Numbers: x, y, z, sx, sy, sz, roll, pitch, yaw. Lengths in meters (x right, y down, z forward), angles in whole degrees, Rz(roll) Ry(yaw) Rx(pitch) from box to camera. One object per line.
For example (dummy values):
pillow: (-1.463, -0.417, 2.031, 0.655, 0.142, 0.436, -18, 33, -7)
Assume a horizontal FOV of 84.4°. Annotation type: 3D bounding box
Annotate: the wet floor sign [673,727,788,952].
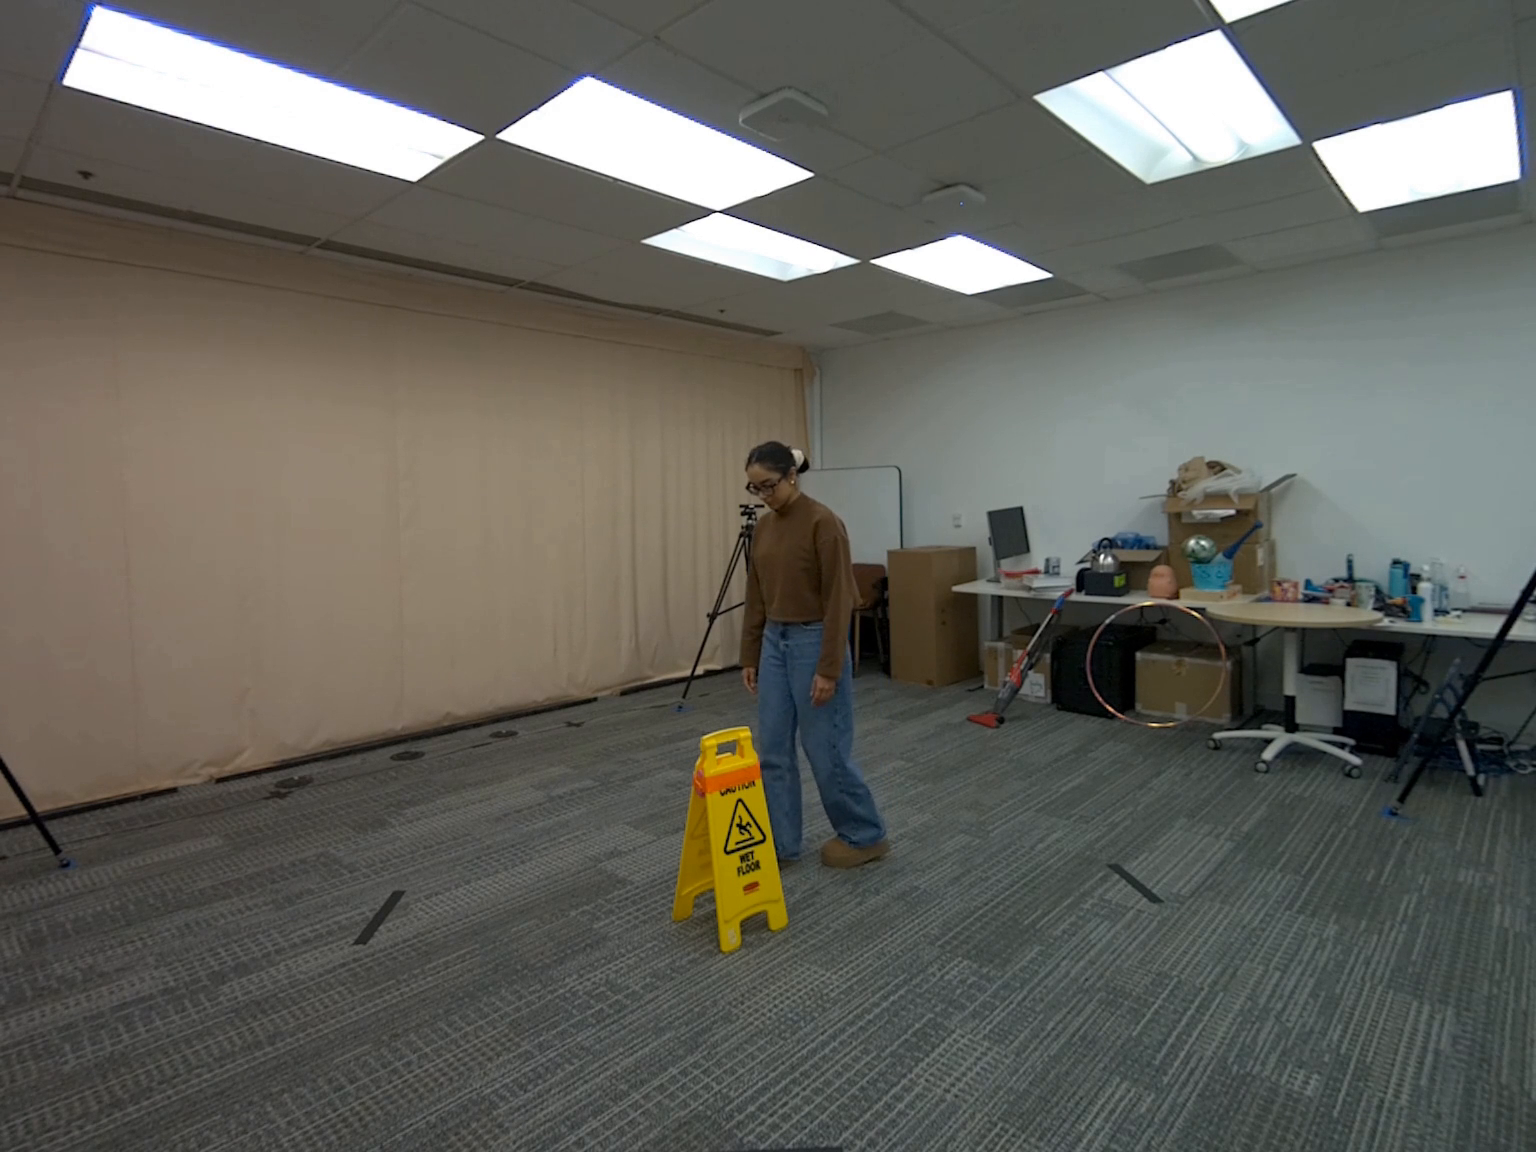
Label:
wet floor sign: (-0.136, 0.835, 2.791, 0.274, 0.645, 0.299, -3, 3, -40)
